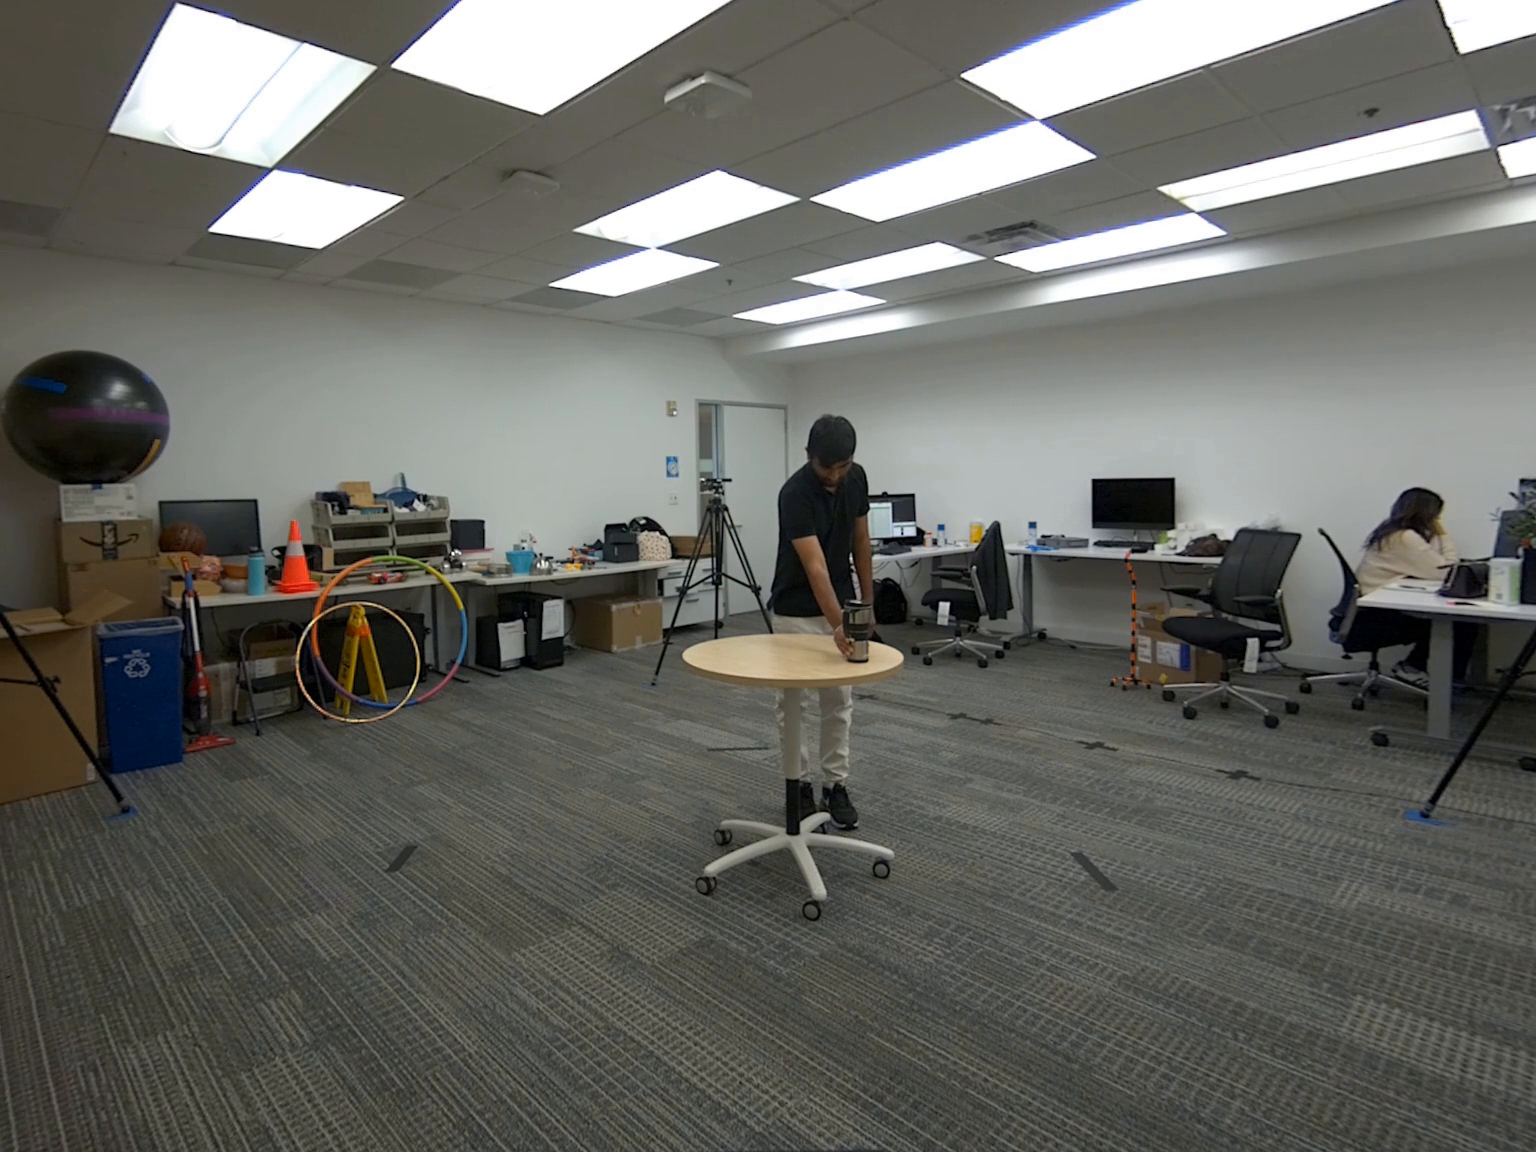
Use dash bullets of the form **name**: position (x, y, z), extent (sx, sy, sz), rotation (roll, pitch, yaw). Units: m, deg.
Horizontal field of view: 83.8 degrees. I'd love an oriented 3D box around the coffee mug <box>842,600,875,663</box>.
- **coffee mug**: position (0.282, 0.186, 2.840), extent (0.119, 0.202, 0.090), rotation (0, 6, -28)
